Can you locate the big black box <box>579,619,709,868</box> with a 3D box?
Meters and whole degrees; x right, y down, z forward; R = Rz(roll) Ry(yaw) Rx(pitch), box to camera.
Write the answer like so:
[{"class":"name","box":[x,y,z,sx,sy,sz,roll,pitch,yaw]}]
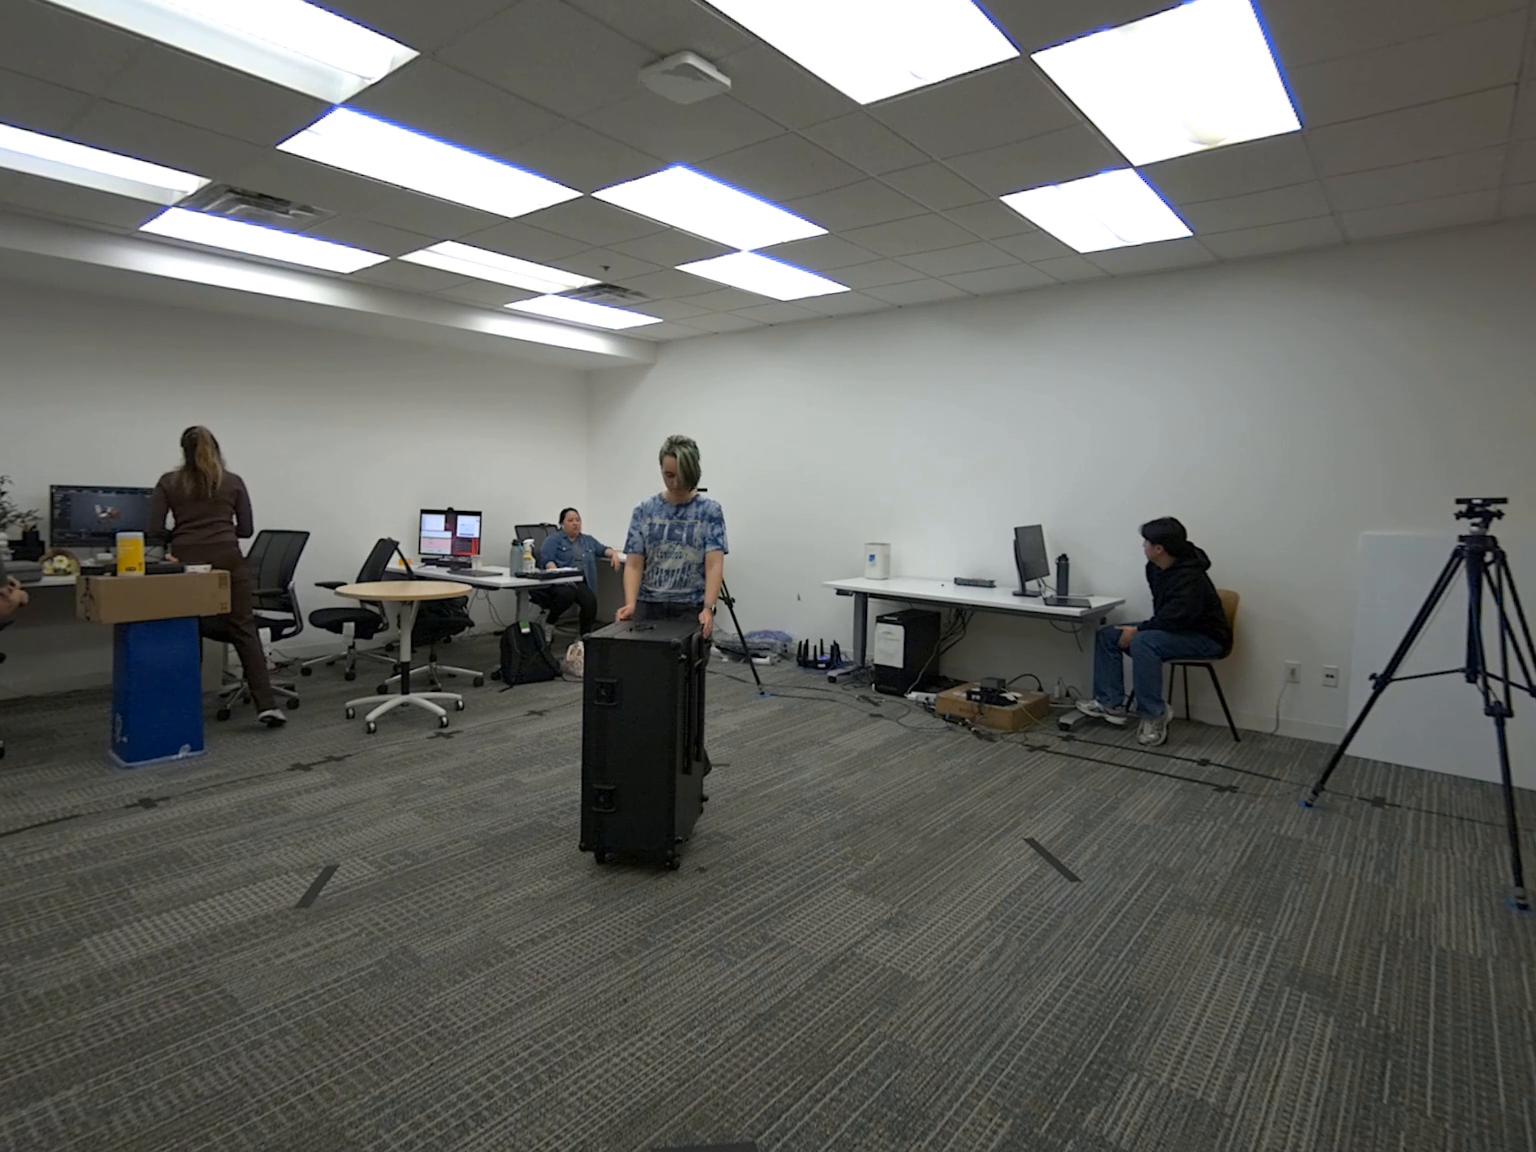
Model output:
[{"class":"big black box","box":[-0.467,0.626,3.264,0.401,0.859,0.516,2,3,10]}]
